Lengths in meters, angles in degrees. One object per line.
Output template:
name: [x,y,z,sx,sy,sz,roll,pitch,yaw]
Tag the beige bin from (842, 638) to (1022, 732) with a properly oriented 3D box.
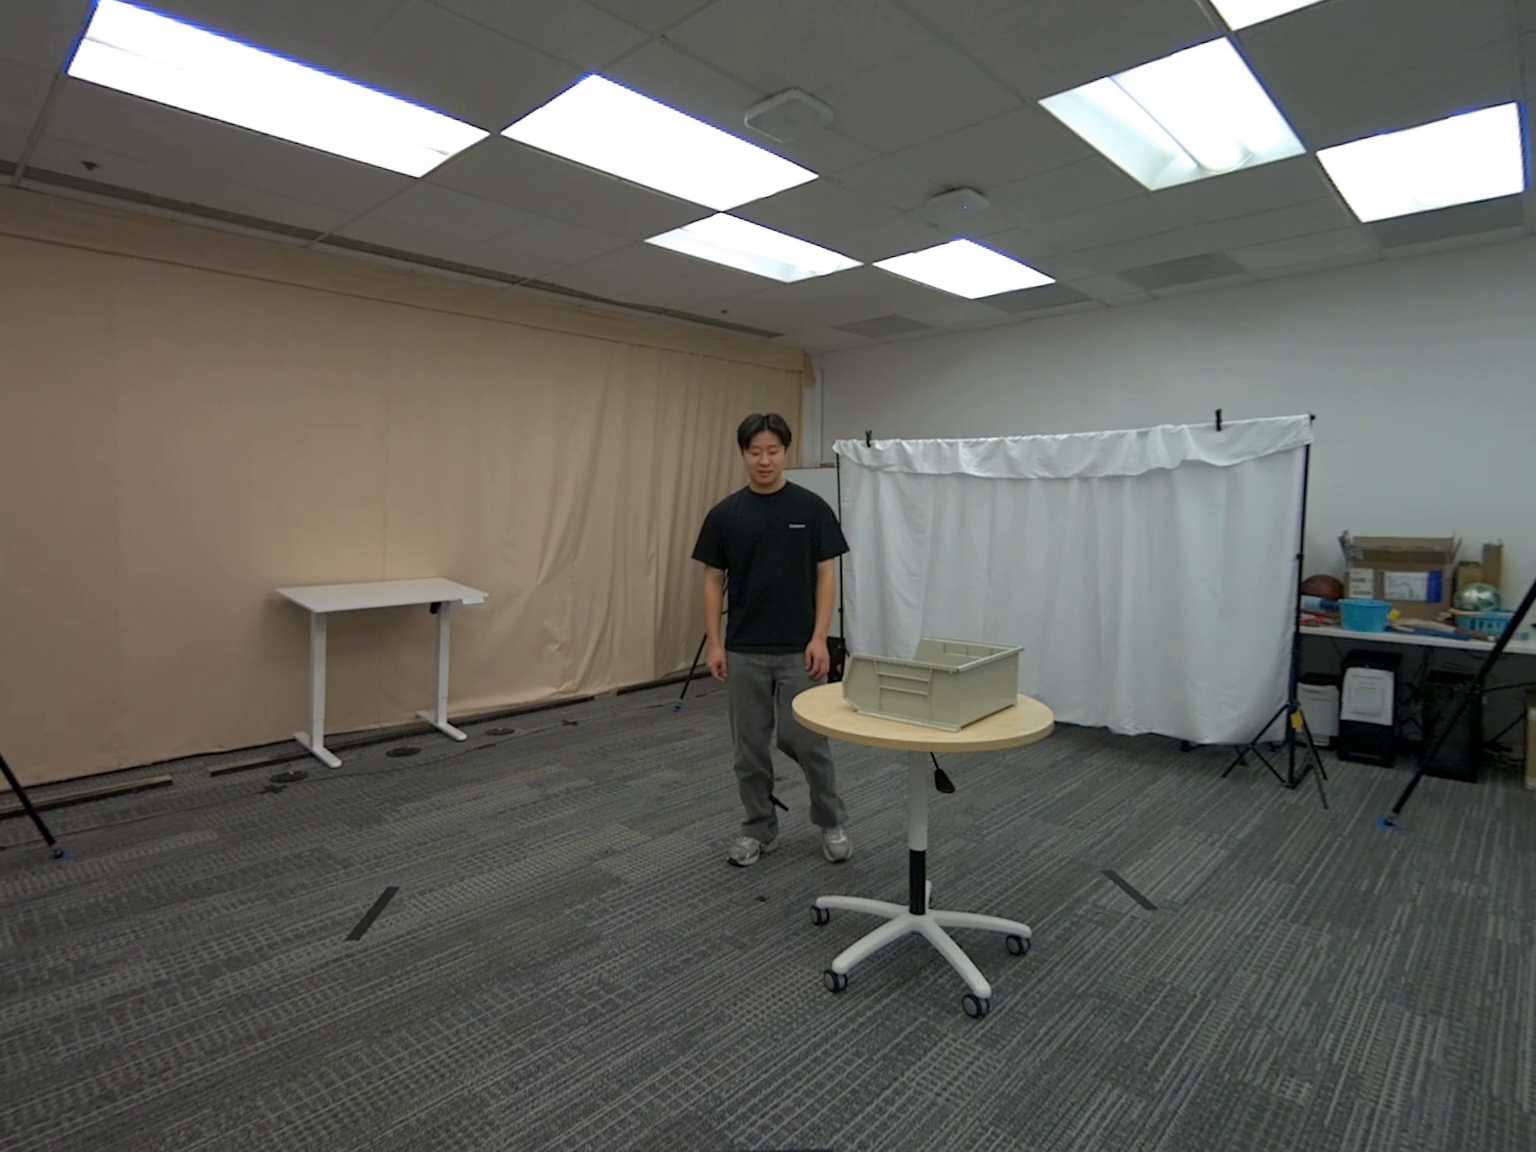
beige bin: [0.500,0.311,2.519,0.390,0.188,0.409,4,6,41]
